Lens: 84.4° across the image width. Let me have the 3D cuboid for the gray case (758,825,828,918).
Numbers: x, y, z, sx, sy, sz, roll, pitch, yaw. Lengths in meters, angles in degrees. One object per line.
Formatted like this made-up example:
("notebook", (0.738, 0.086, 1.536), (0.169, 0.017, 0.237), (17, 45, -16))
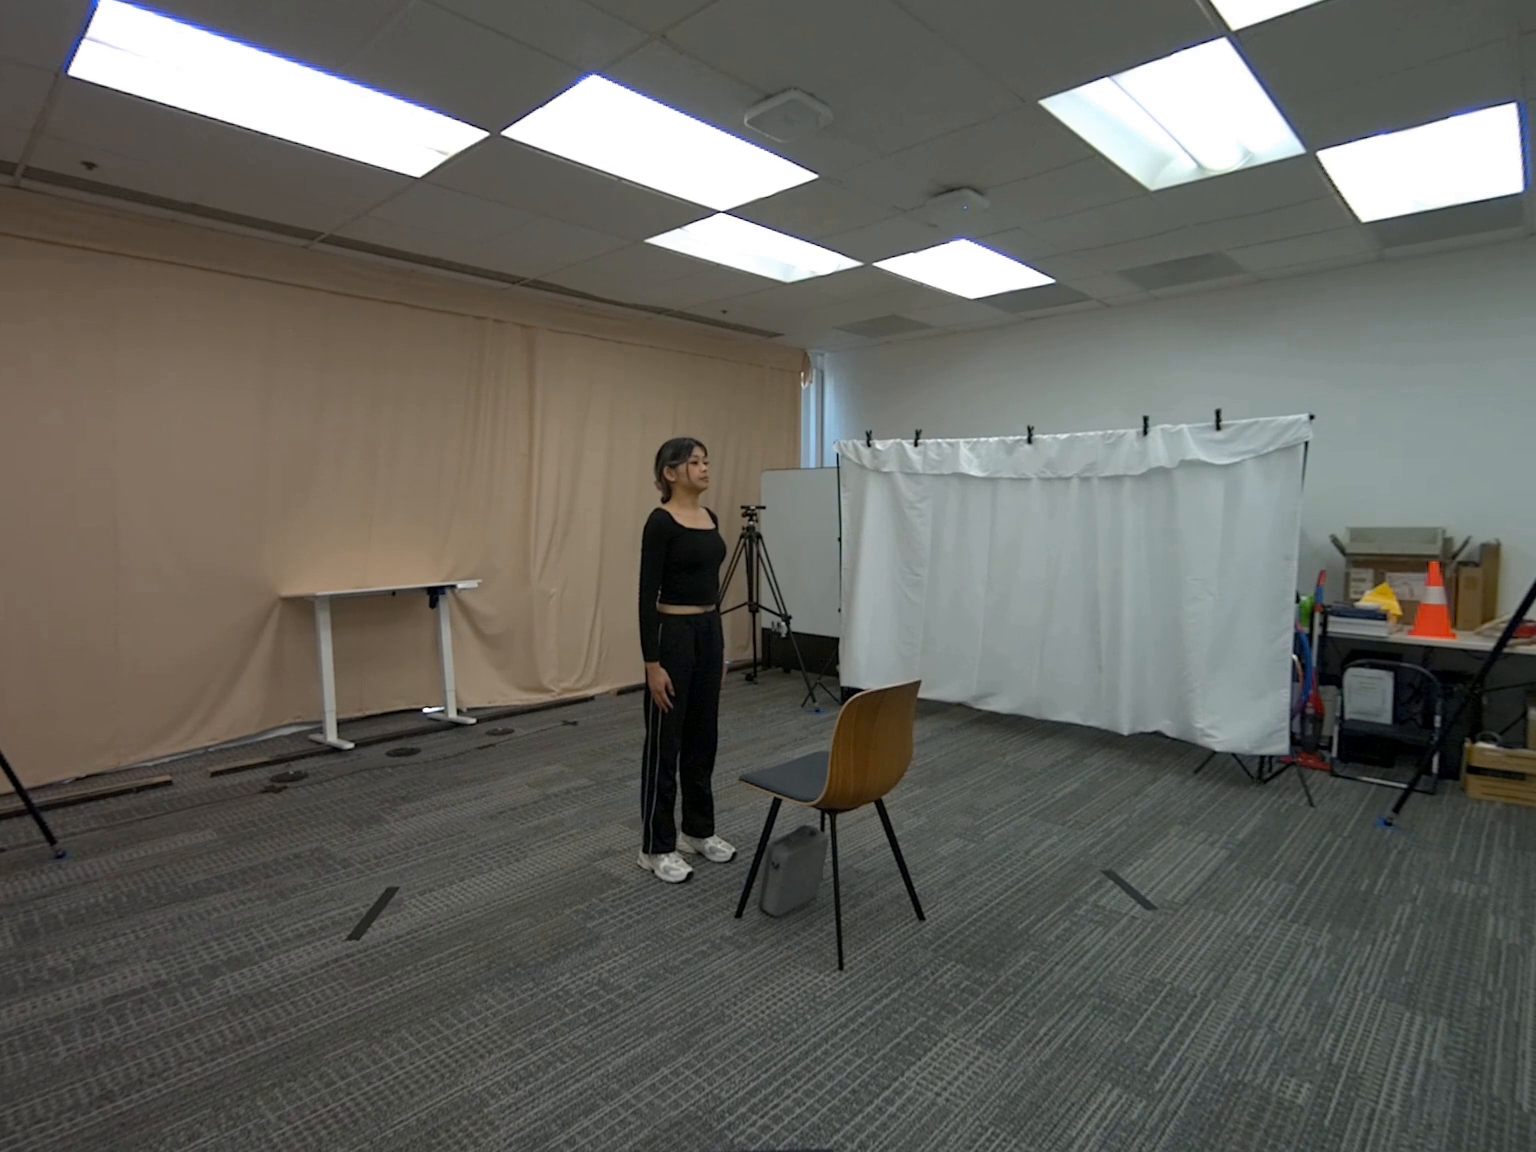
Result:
("gray case", (0.091, 1.010, 2.922), (0.108, 0.259, 0.249), (21, 17, 40))
